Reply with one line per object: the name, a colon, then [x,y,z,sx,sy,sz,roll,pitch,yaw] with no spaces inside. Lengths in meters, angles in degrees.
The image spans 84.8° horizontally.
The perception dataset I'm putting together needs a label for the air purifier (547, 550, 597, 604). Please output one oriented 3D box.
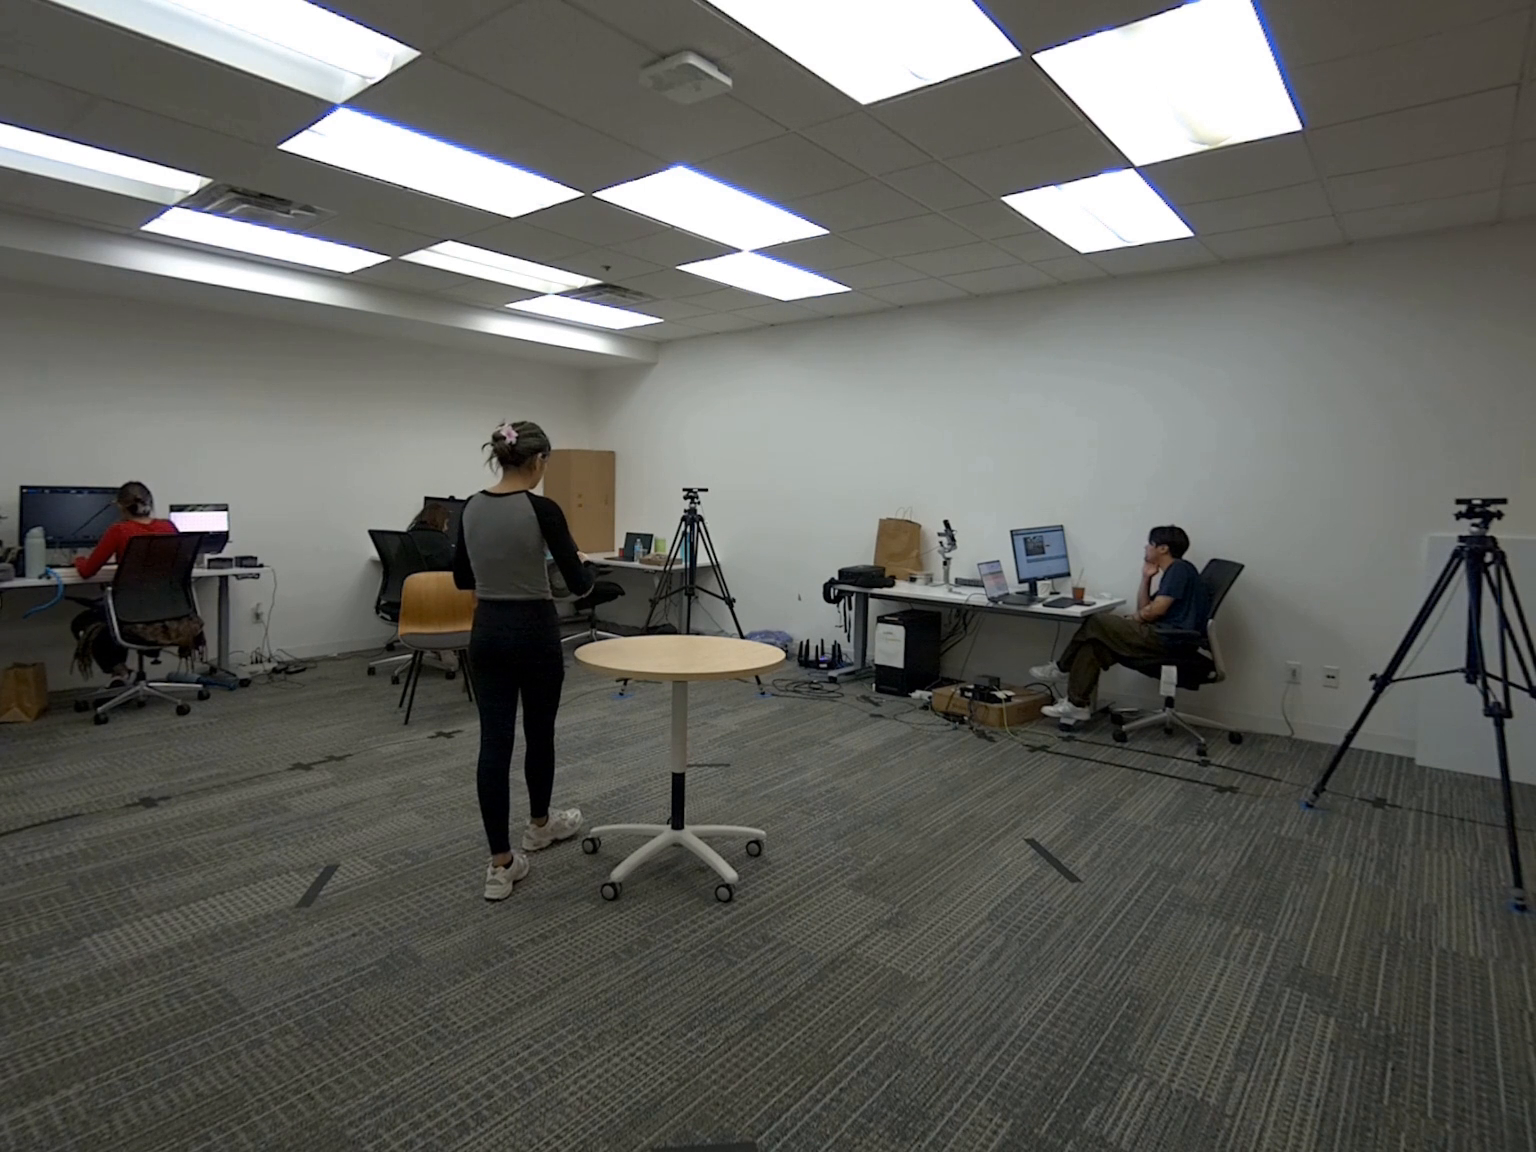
air purifier: [-0.782,0.000,3.267,0.171,0.171,0.266,-4,5,0]
